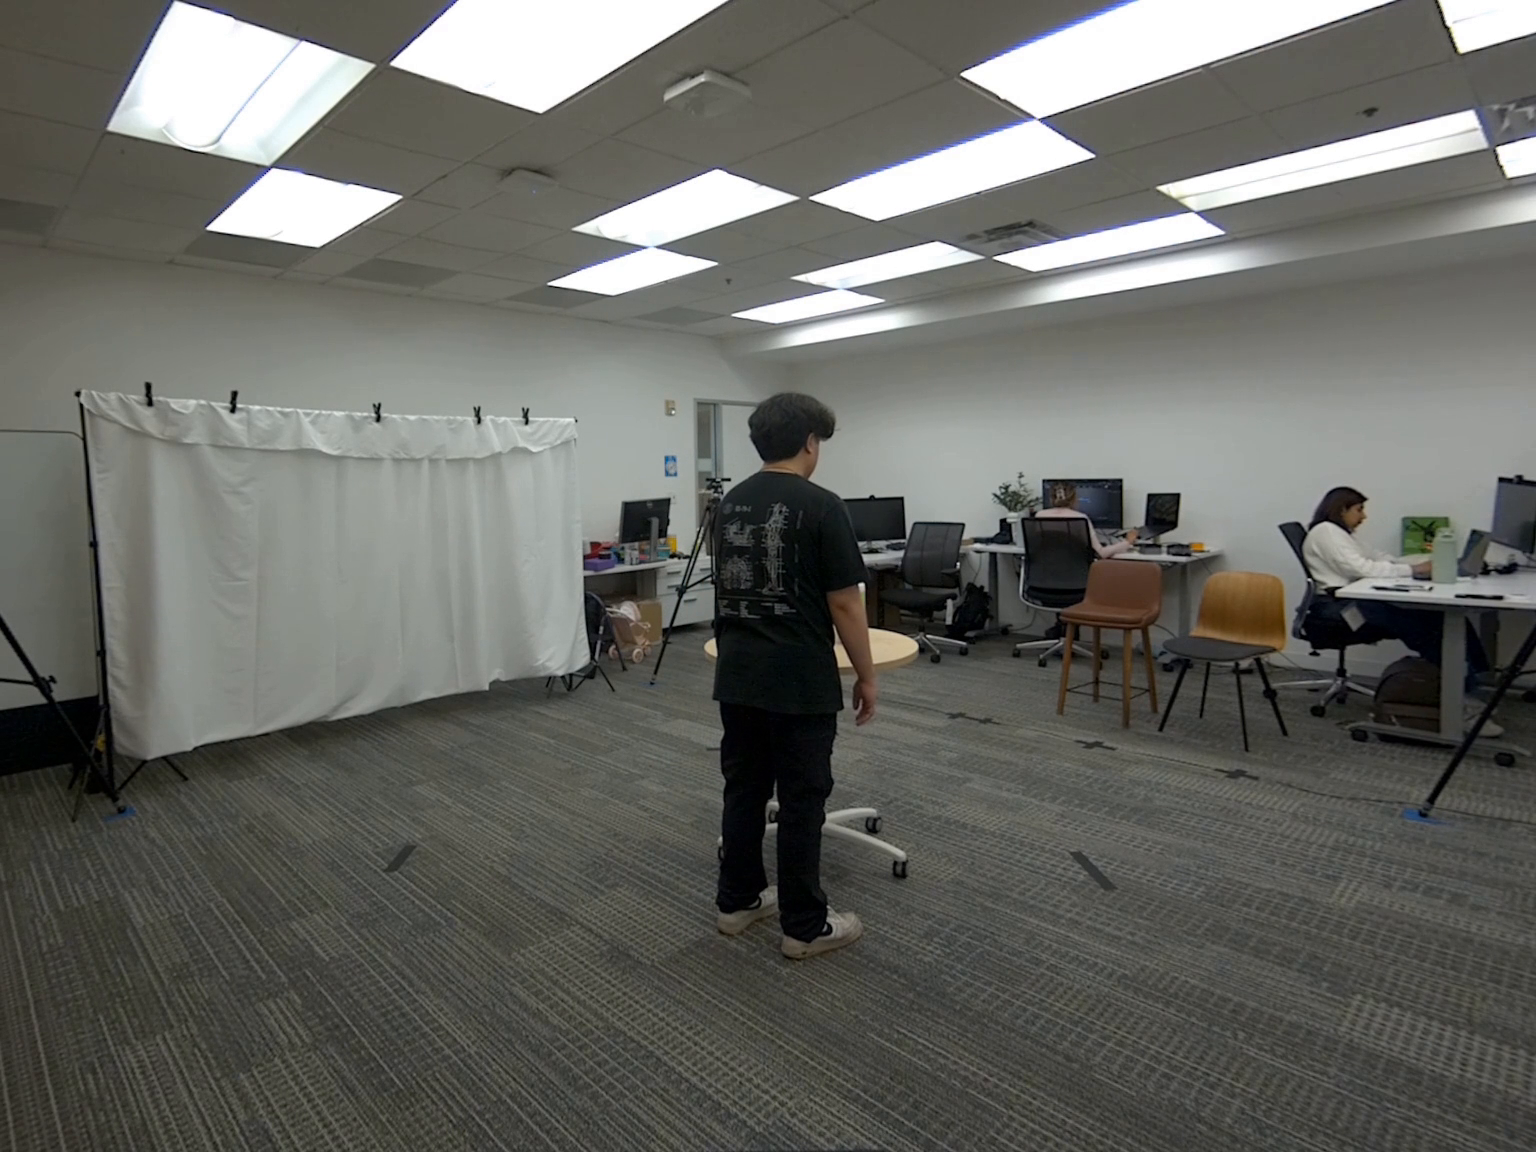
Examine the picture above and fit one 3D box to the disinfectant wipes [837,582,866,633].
[{"bbox_3d":[0.298,0.132,3.103,0.118,0.217,0.118,-3,3,-2],"label":"disinfectant wipes"}]
